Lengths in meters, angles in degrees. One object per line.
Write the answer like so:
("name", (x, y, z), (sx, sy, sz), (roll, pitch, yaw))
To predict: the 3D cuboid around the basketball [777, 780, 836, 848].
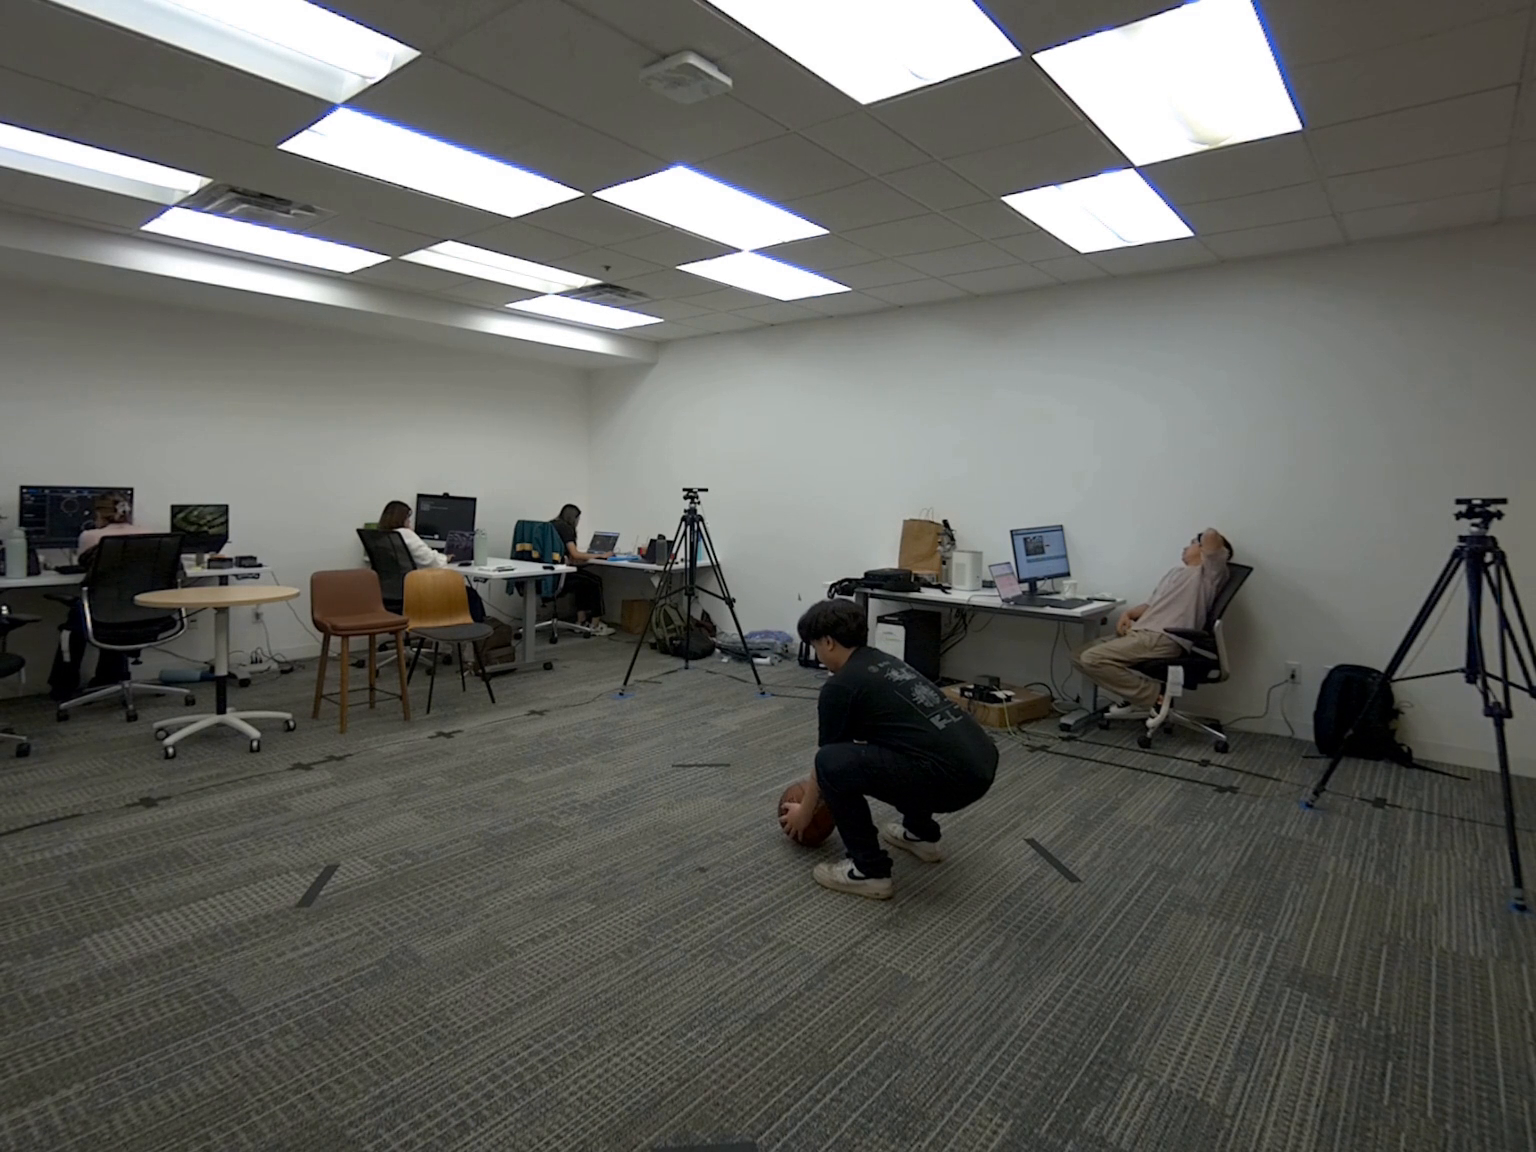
("basketball", (0.156, 0.936, 3.391), (0.235, 0.235, 0.237), (1, 4, -2))
